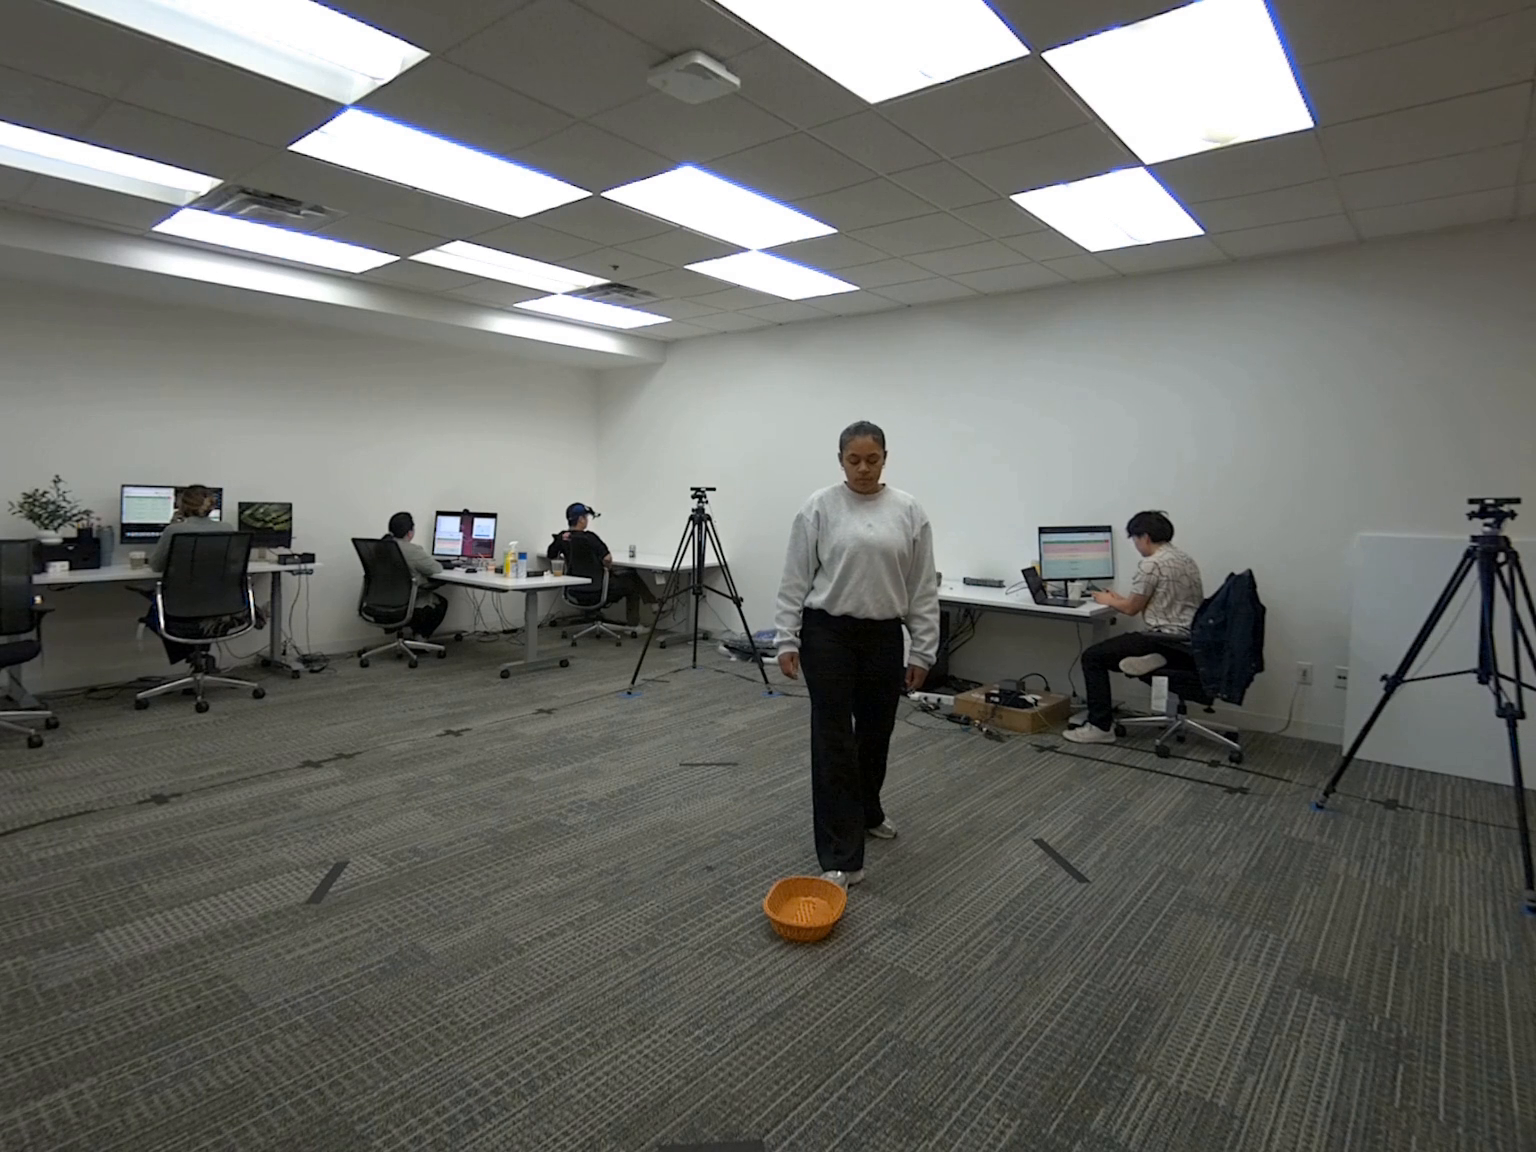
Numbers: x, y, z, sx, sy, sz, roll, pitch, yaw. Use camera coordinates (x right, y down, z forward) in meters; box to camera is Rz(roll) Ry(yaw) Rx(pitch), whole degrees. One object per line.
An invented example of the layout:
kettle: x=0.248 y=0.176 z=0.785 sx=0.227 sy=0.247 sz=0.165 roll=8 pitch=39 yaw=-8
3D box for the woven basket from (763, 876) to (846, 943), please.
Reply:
woven basket: x=0.111 y=1.069 z=2.746 sx=0.257 sy=0.073 sz=0.345 roll=4 pitch=6 yaw=17
